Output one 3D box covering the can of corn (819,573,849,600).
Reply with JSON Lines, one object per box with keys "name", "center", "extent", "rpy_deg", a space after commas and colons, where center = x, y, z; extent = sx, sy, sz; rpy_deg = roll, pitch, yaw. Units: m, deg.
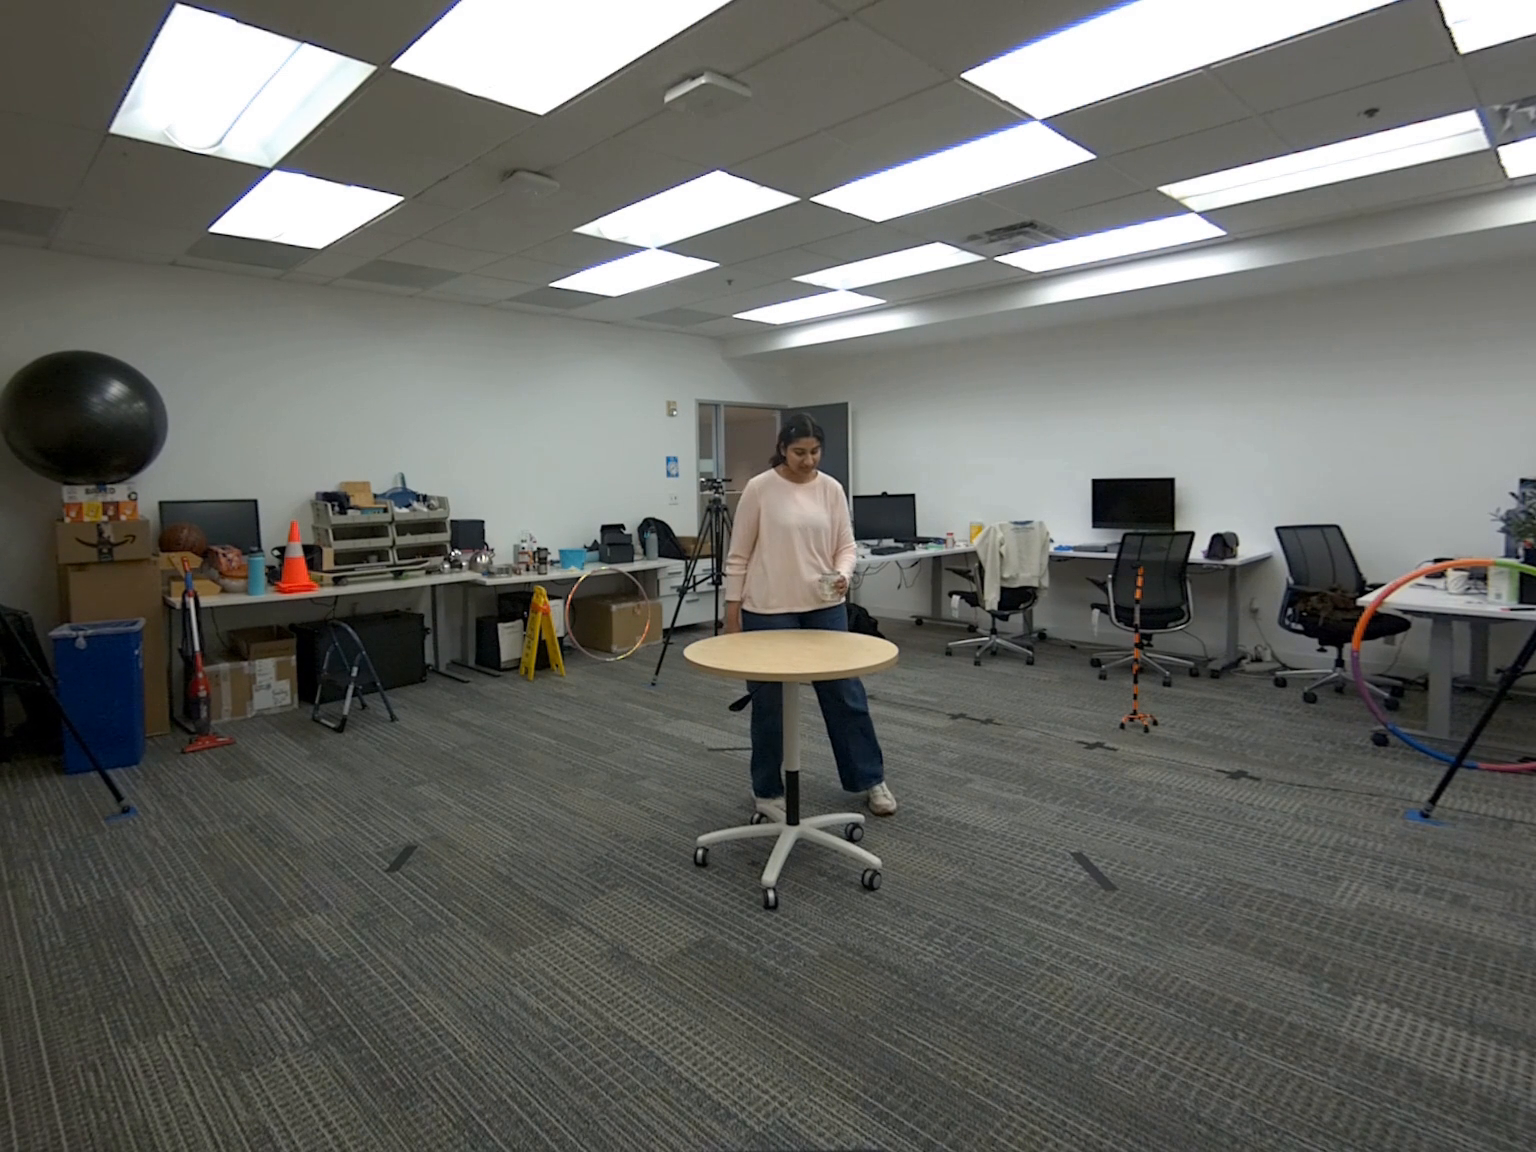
{"name": "can of corn", "center": [0.252, 0.042, 3.310], "extent": [0.074, 0.110, 0.074], "rpy_deg": [-1, 5, -2]}
